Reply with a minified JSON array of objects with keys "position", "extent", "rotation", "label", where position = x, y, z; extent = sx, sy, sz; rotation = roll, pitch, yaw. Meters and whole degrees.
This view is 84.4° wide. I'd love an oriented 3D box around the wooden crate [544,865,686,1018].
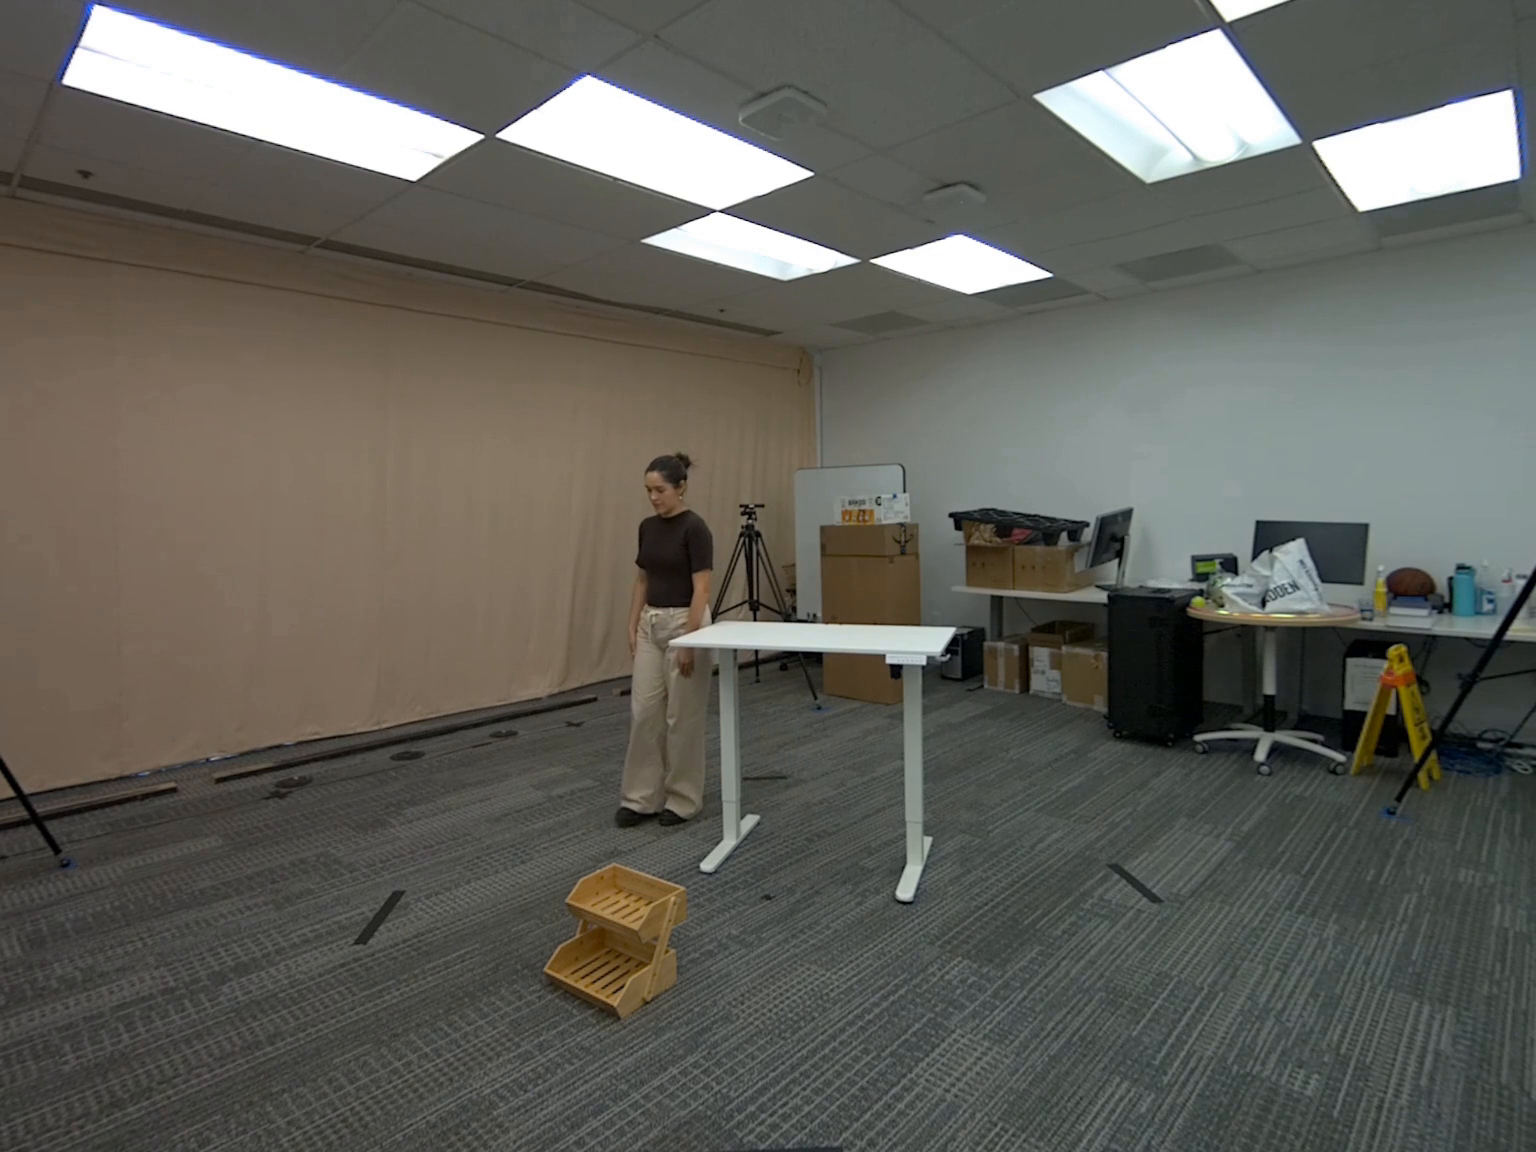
[{"position":[-0.449,1.058,2.476],"extent":[0.335,0.273,0.293],"rotation":[1,4,36],"label":"wooden crate"}]
